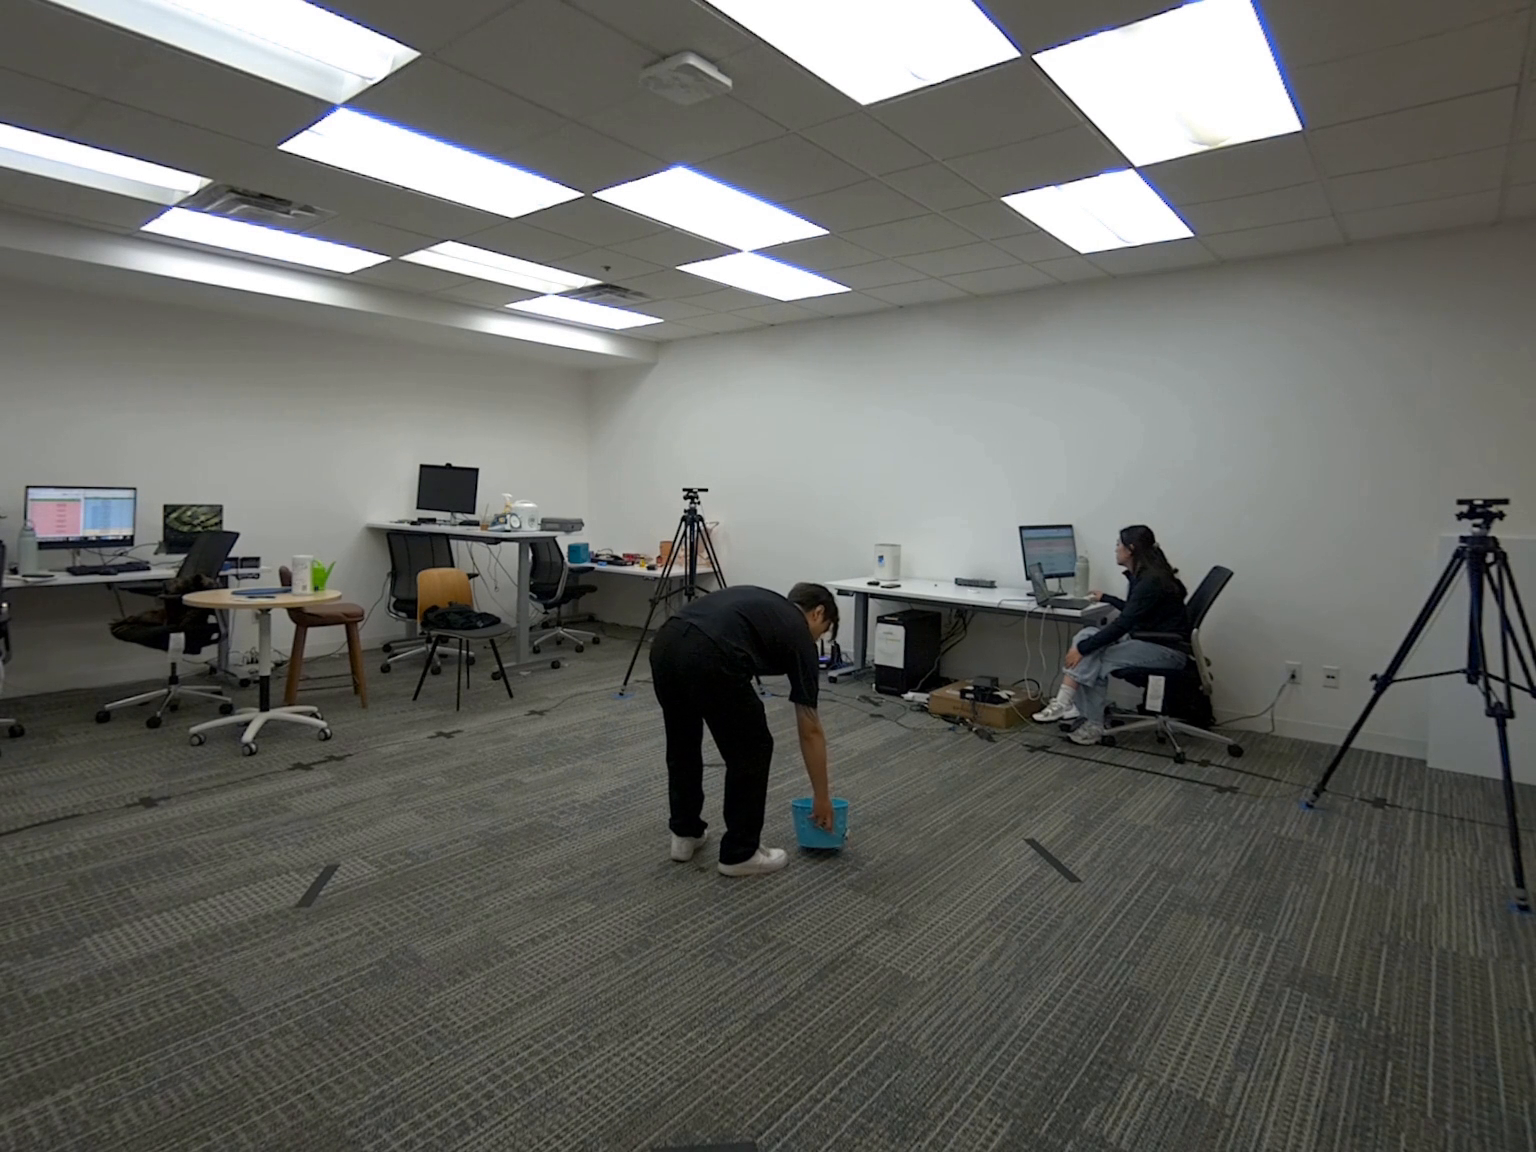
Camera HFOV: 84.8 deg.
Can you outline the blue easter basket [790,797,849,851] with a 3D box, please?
[{"bbox_3d":[0.195,0.949,3.297,0.243,0.157,0.242,0,-5,-2],"label":"blue easter basket"}]
